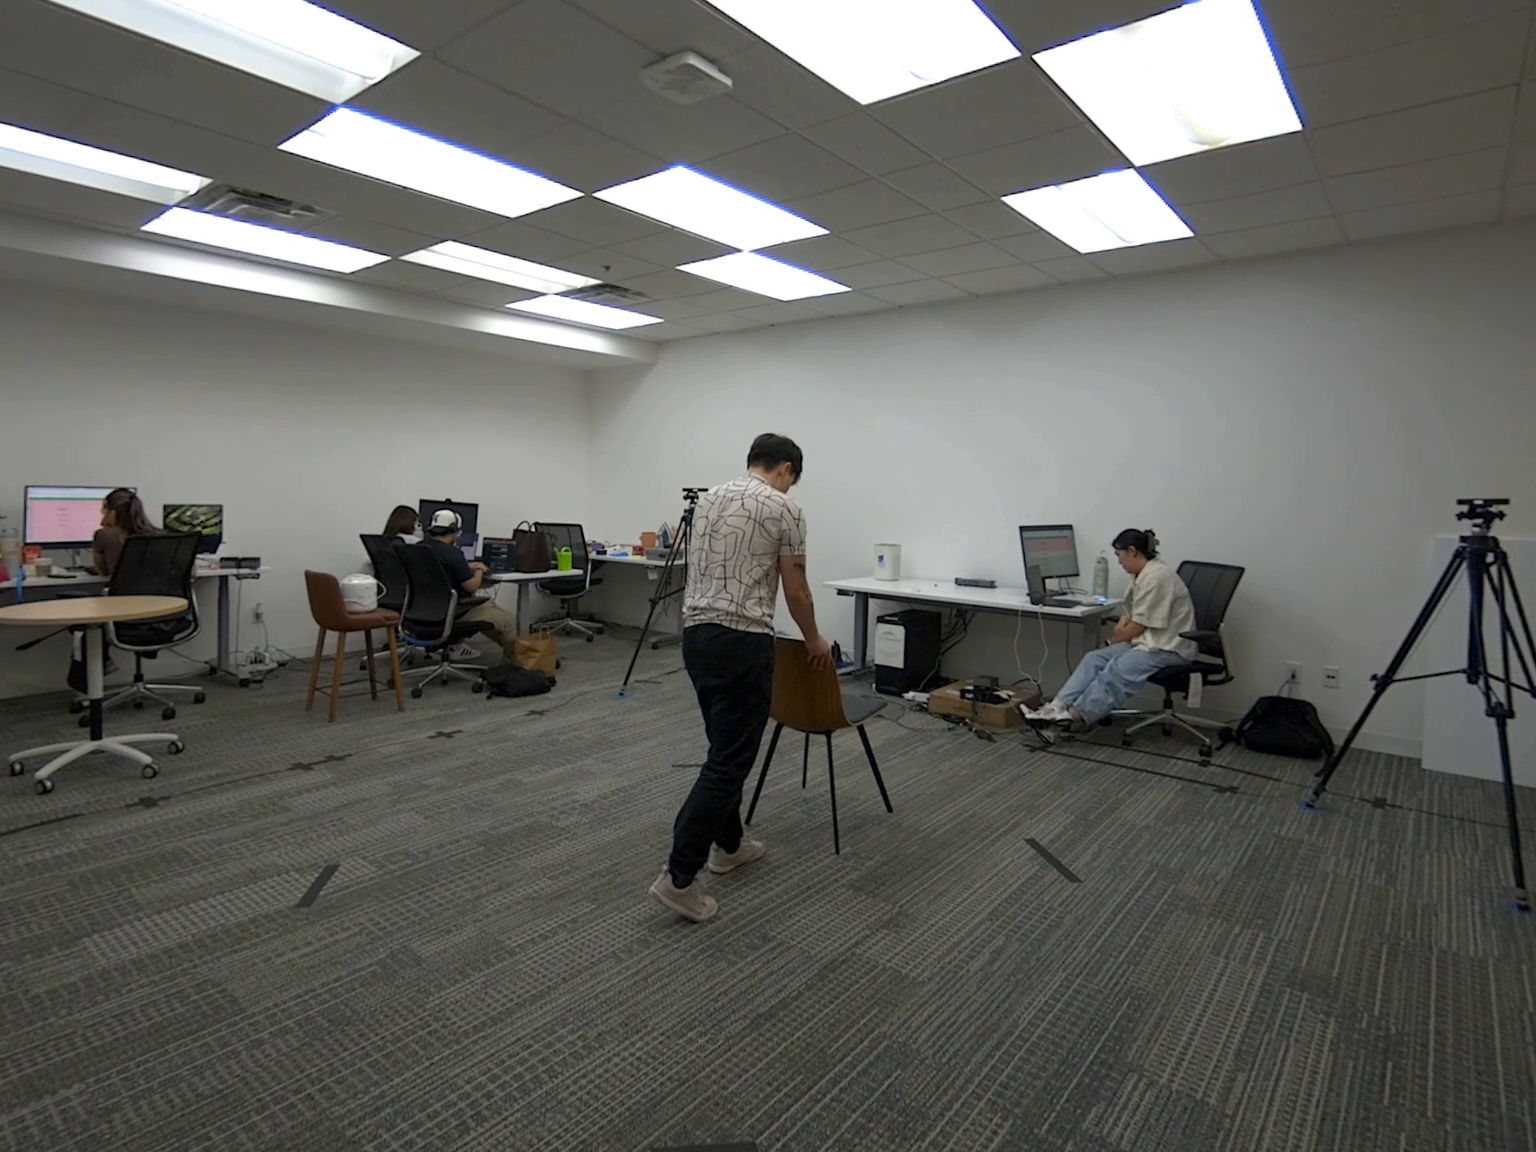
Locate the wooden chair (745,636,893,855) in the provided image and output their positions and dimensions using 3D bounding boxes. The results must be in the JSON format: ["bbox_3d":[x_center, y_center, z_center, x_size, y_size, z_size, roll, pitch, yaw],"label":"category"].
[{"bbox_3d":[0.198,0.591,3.526,0.494,0.868,0.512,3,13,37],"label":"wooden chair"}]
